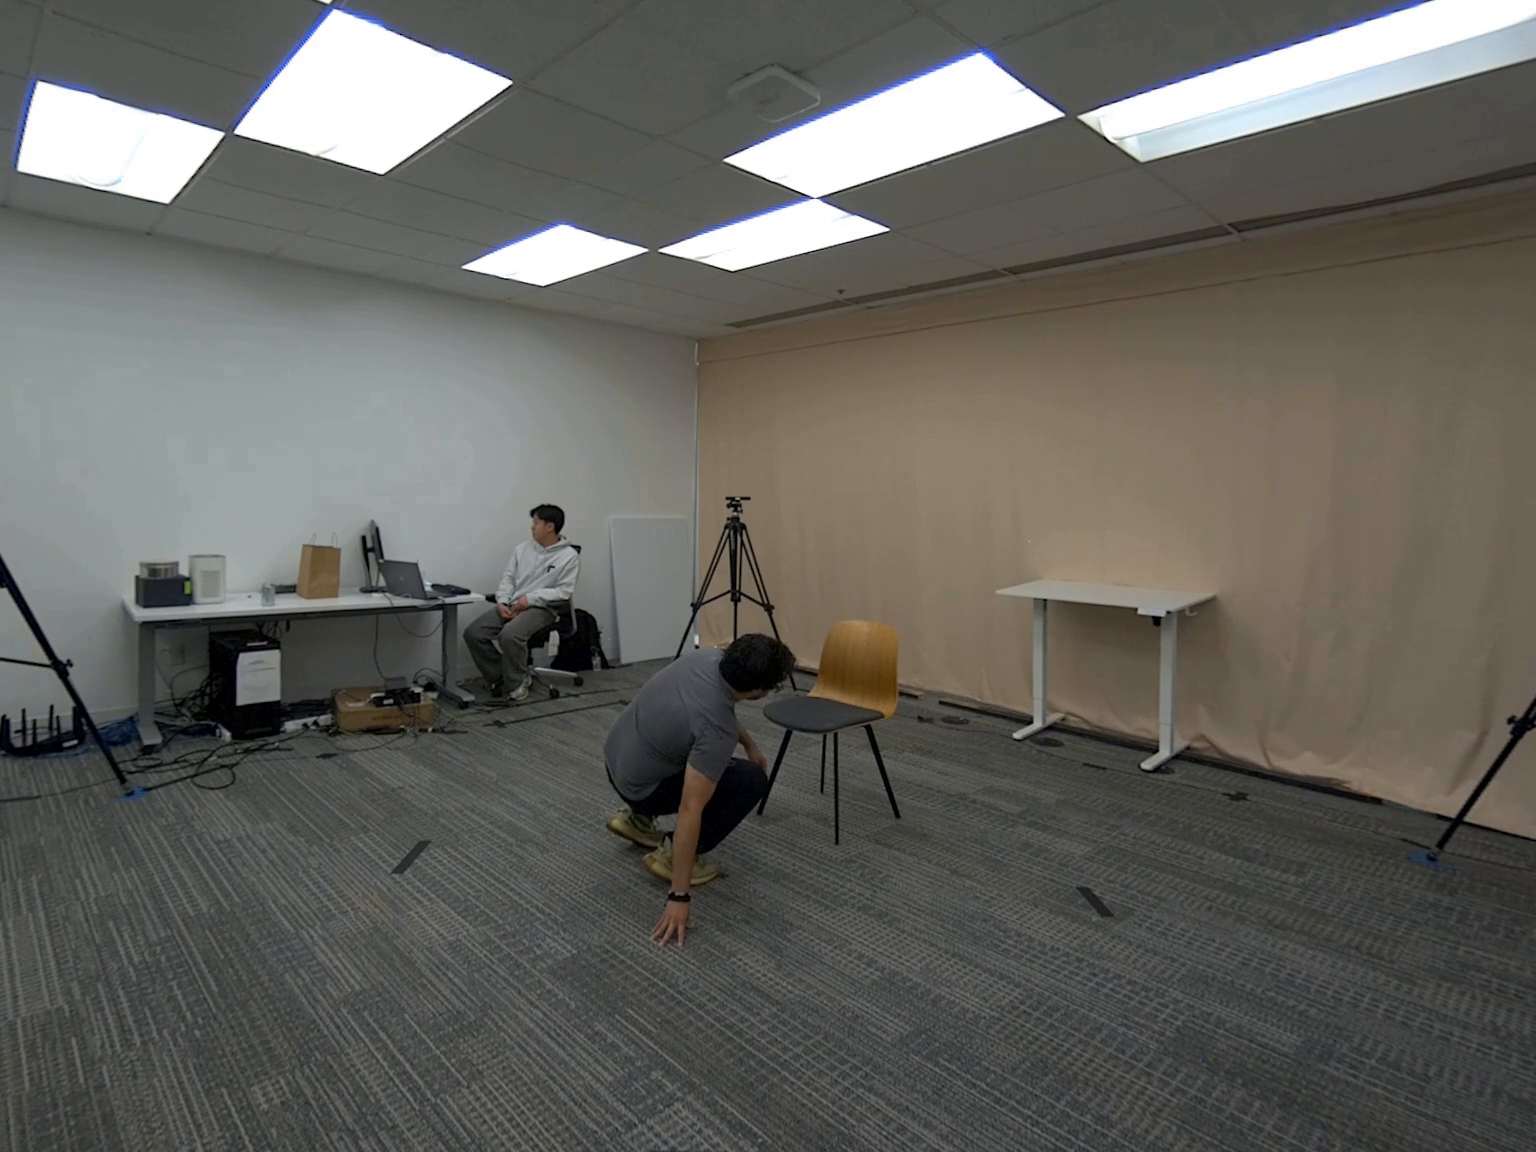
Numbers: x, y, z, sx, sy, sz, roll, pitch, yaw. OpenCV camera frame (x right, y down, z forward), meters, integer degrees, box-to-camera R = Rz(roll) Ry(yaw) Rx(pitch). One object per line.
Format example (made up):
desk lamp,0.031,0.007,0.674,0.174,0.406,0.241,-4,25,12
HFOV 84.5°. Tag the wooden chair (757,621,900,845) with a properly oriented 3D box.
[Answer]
wooden chair,0.269,0.638,3.692,0.490,0.877,0.510,4,0,44
